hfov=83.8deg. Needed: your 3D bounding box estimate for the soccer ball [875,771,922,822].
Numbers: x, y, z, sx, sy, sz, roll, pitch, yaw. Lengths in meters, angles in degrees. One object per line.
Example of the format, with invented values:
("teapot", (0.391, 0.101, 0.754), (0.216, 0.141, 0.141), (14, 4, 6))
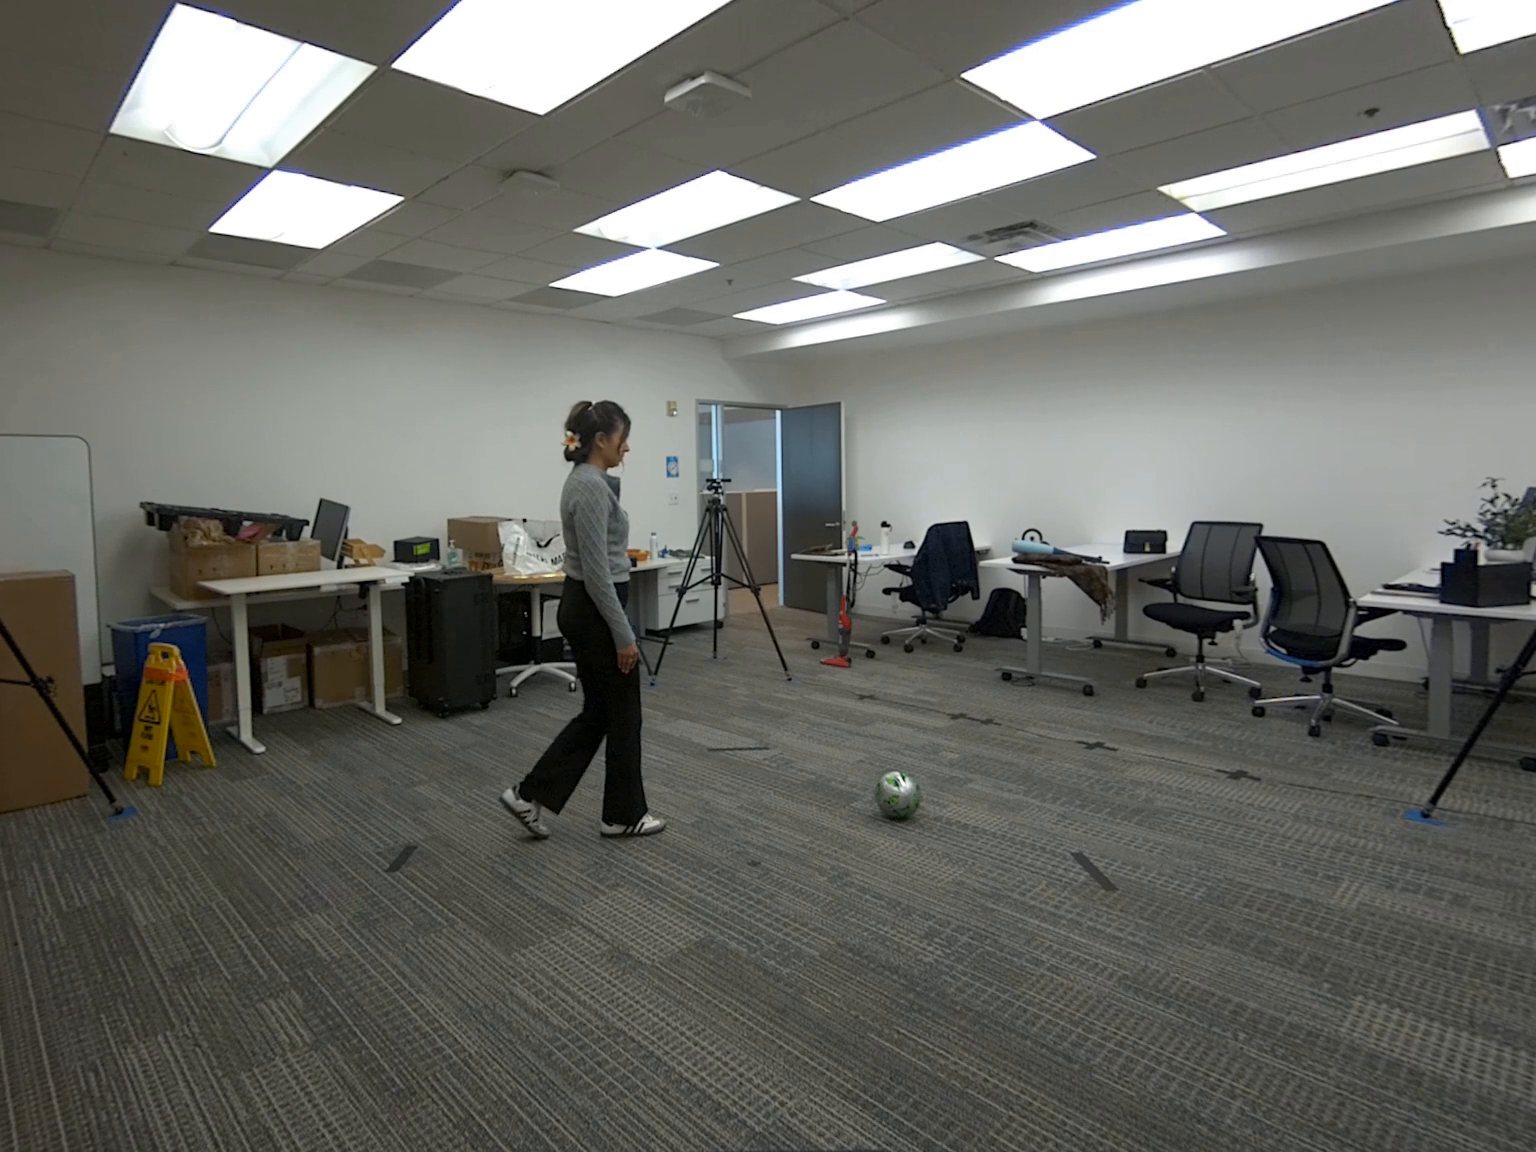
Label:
("soccer ball", (0.529, 0.894, 3.500), (0.187, 0.187, 0.188), (-1, 5, -2))
